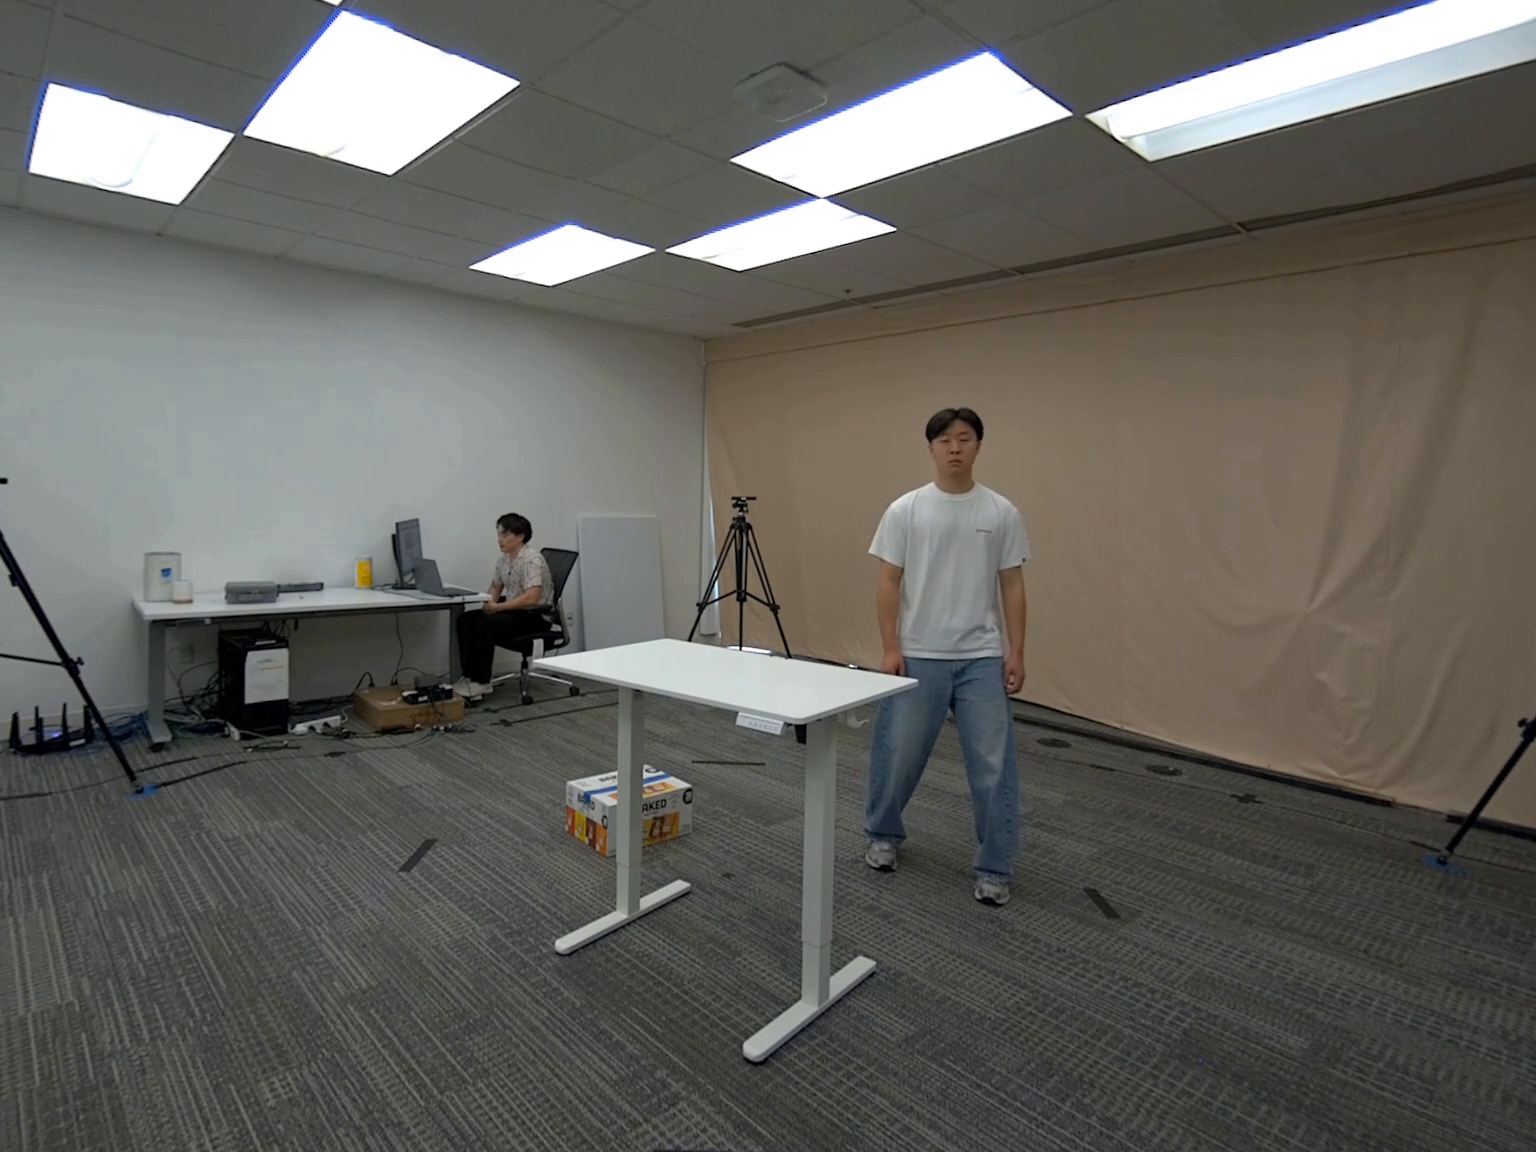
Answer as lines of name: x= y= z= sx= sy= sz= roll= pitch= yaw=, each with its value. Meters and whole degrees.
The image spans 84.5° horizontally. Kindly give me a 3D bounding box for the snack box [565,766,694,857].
snack box: x=-0.581 y=0.959 z=3.483 sx=0.396 sy=0.205 sz=0.349 roll=-3 pitch=6 yaw=-40
